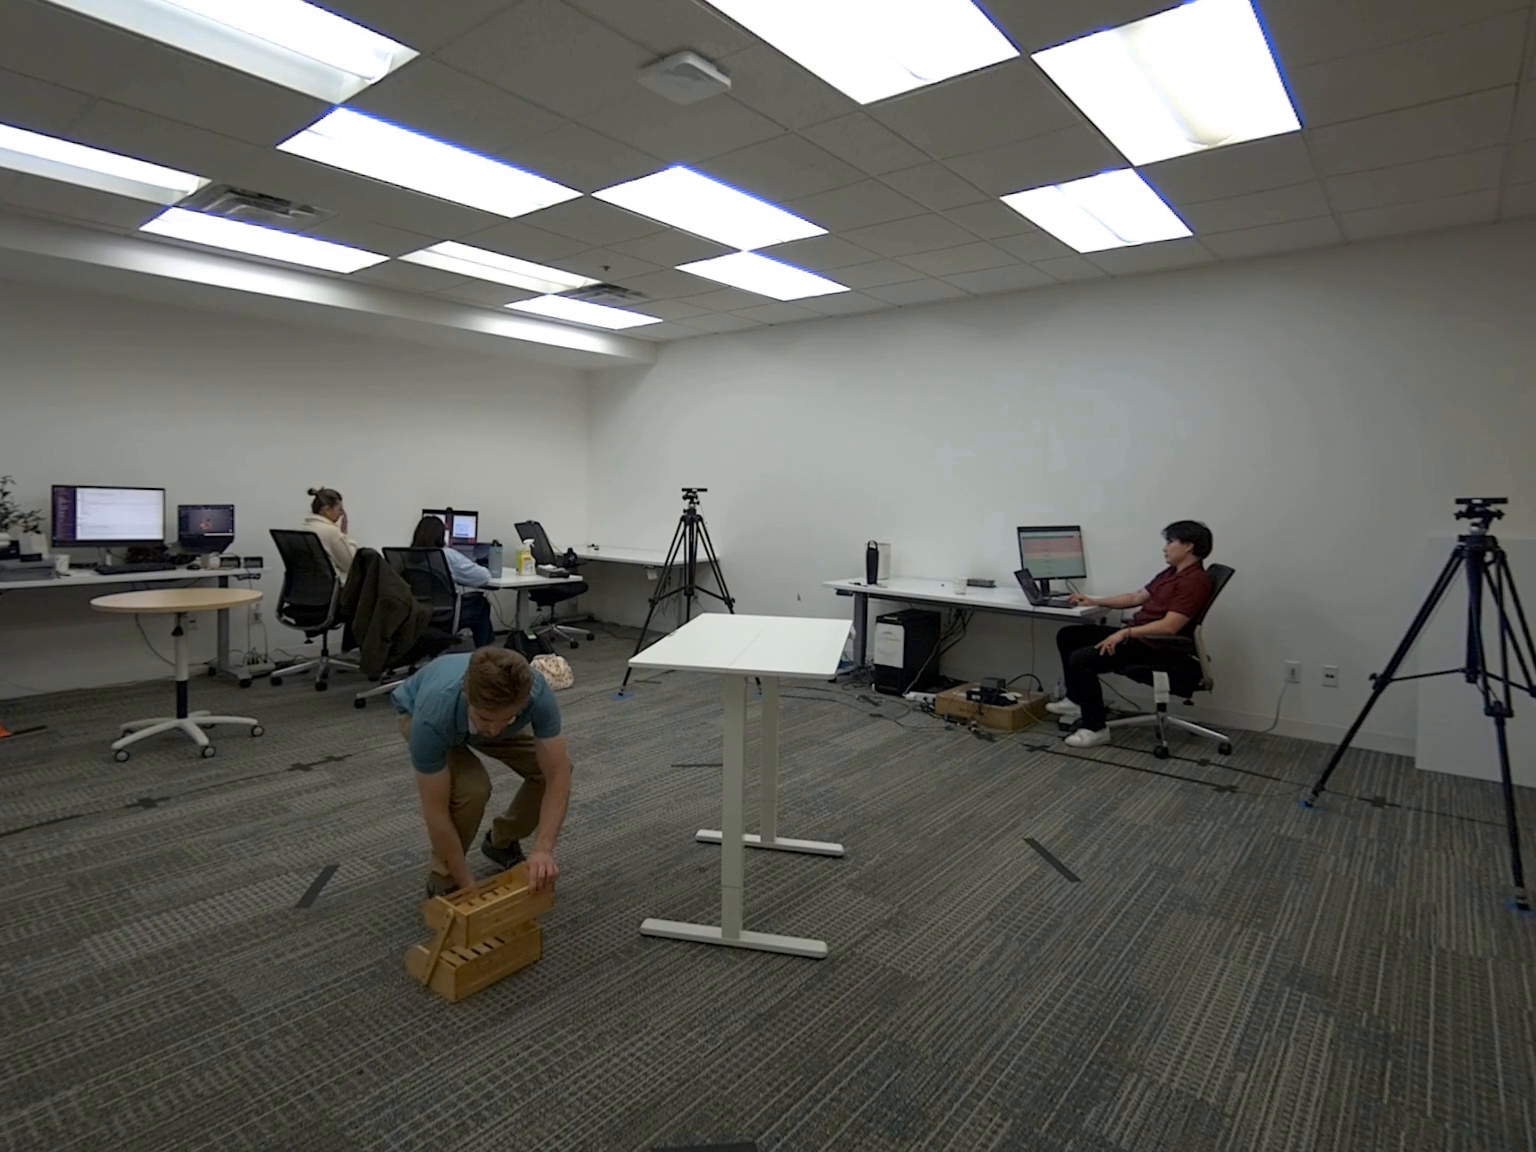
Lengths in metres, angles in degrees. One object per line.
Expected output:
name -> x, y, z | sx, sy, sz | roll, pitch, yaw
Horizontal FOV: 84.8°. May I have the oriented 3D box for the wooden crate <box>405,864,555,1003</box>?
wooden crate -> -0.835, 0.994, 2.445 | 0.312, 0.272, 0.315 | 5, 5, 37
